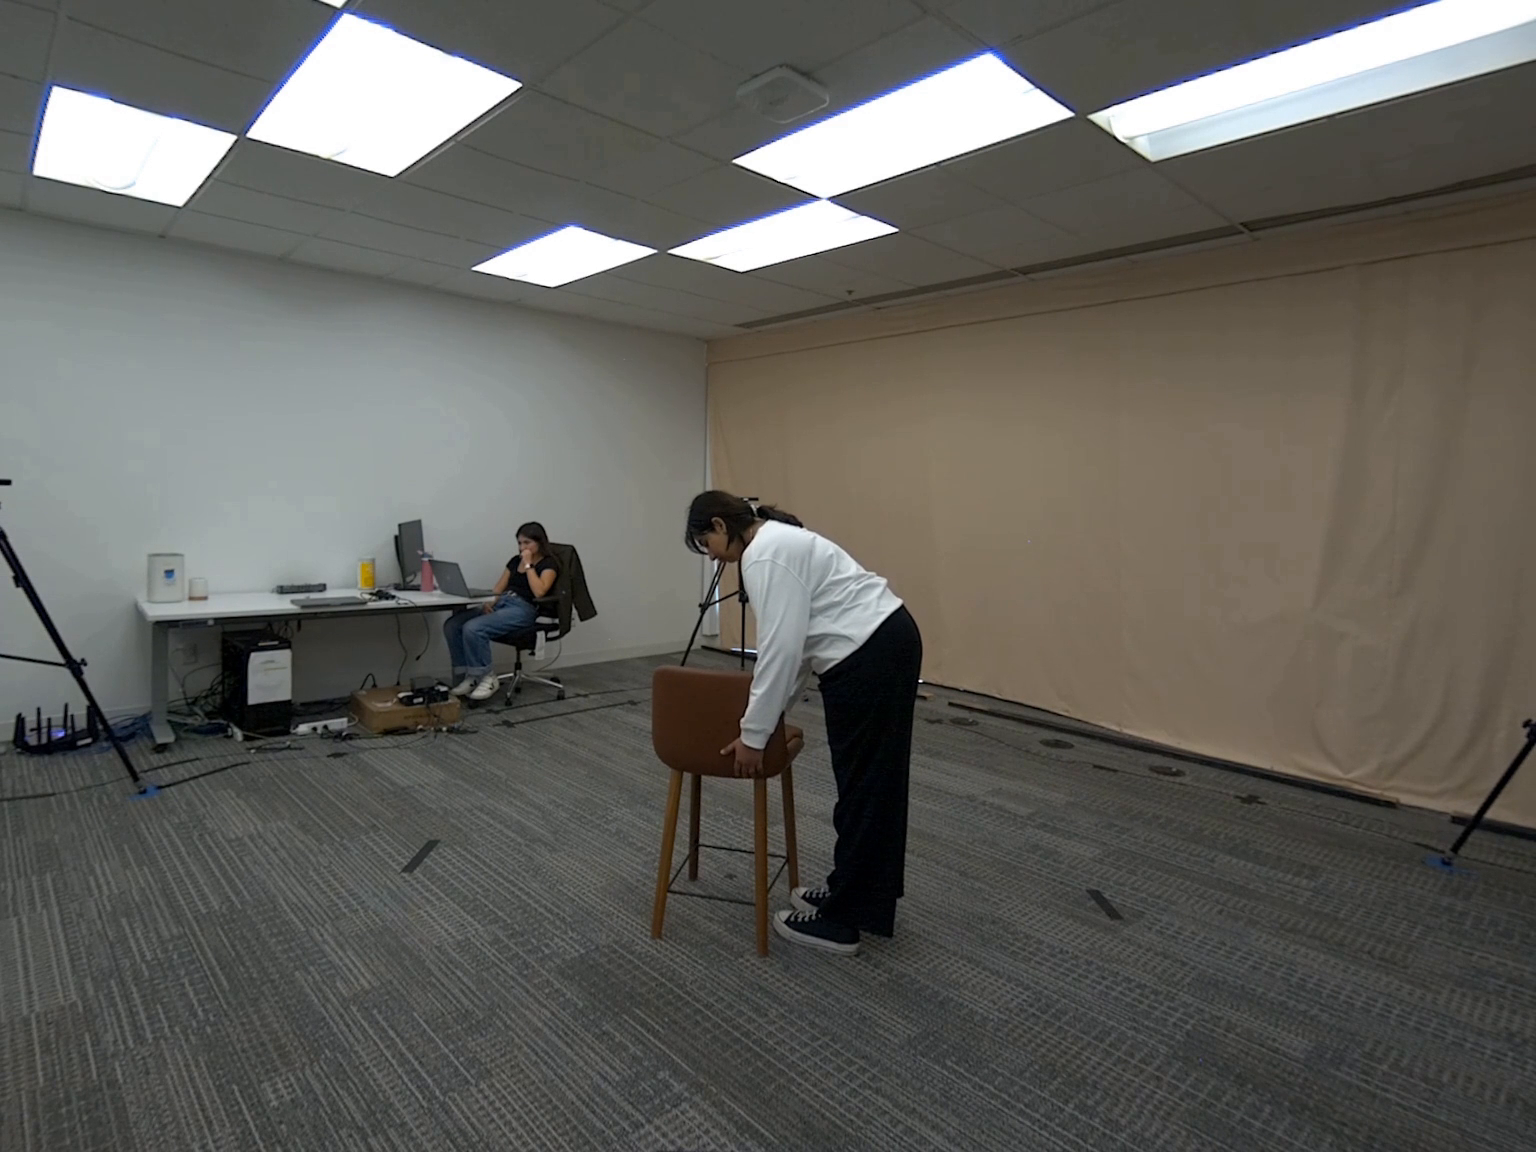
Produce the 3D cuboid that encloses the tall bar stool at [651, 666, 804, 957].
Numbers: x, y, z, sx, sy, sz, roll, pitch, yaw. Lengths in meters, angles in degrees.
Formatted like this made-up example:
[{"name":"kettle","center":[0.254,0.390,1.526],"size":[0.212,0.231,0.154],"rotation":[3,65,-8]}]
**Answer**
[{"name":"tall bar stool","center":[-0.132,0.700,2.793],"size":[0.463,0.886,0.463],"rotation":[3,5,16]}]
